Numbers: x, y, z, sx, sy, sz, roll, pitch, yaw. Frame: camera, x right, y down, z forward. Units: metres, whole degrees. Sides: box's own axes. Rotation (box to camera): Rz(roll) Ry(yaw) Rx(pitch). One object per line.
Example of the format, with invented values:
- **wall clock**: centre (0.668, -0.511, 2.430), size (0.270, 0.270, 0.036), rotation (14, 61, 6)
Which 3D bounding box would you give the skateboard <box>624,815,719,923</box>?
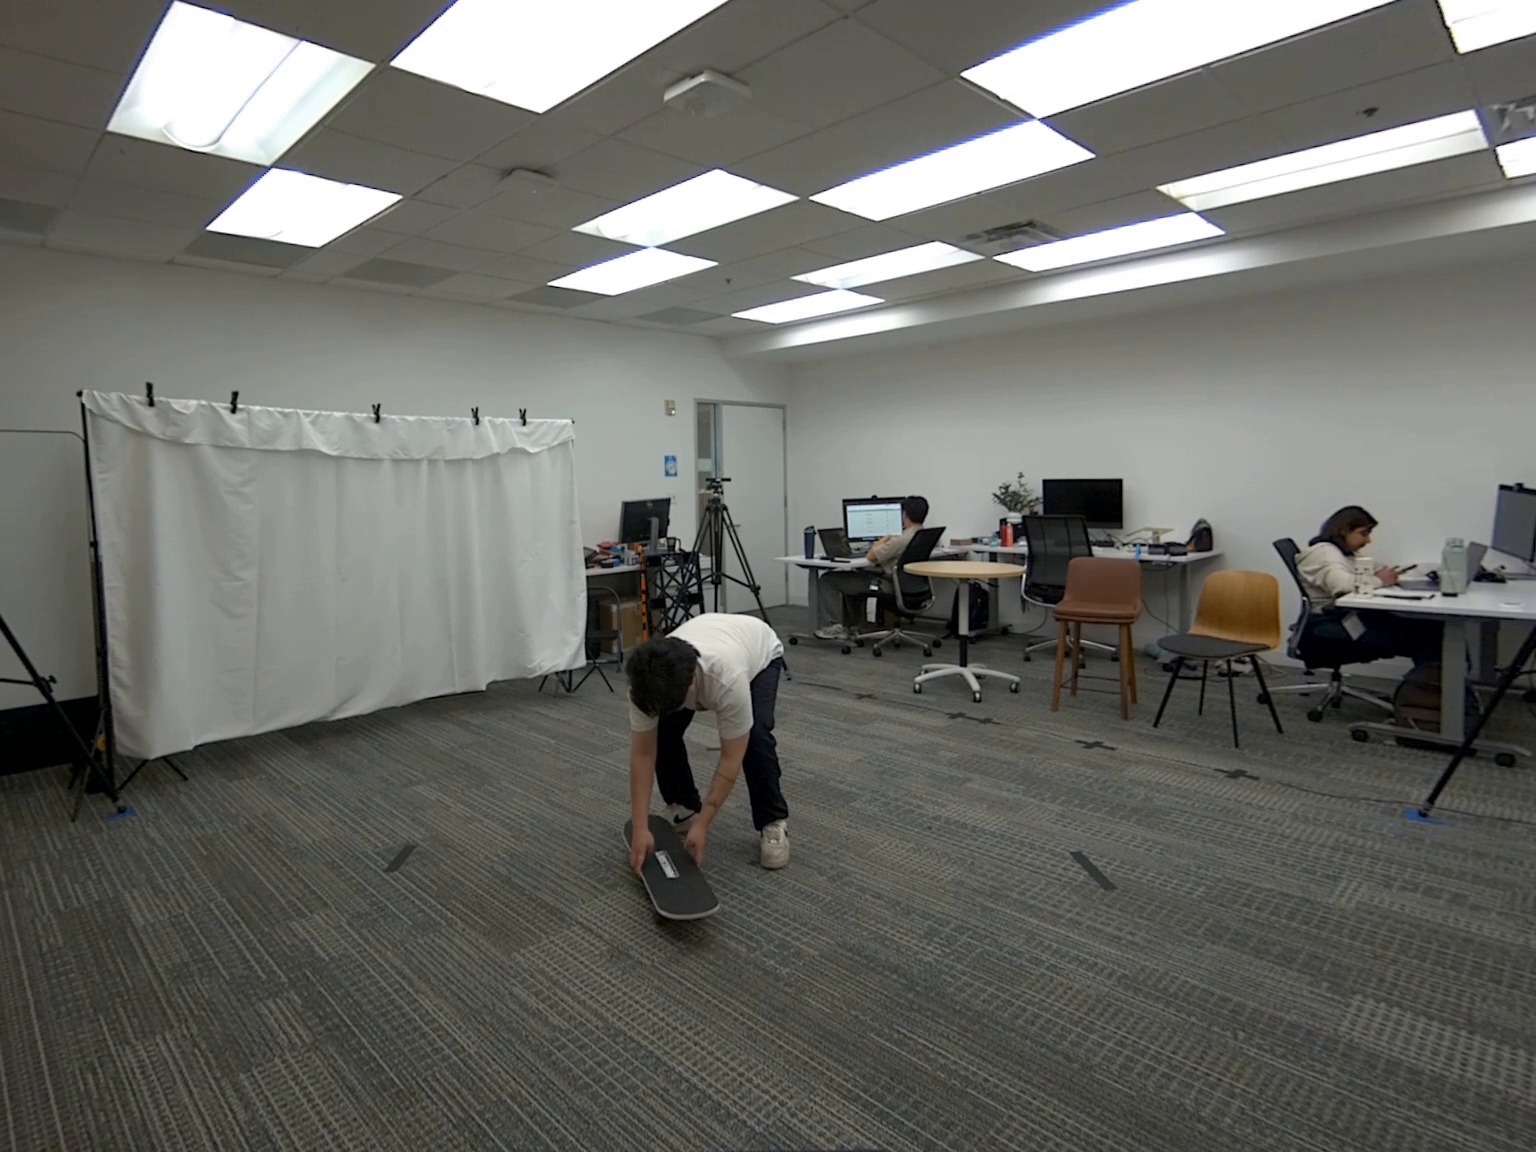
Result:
- **skateboard**: centre (-0.345, 1.013, 2.906), size (0.190, 0.110, 0.803), rotation (-6, 8, -20)
